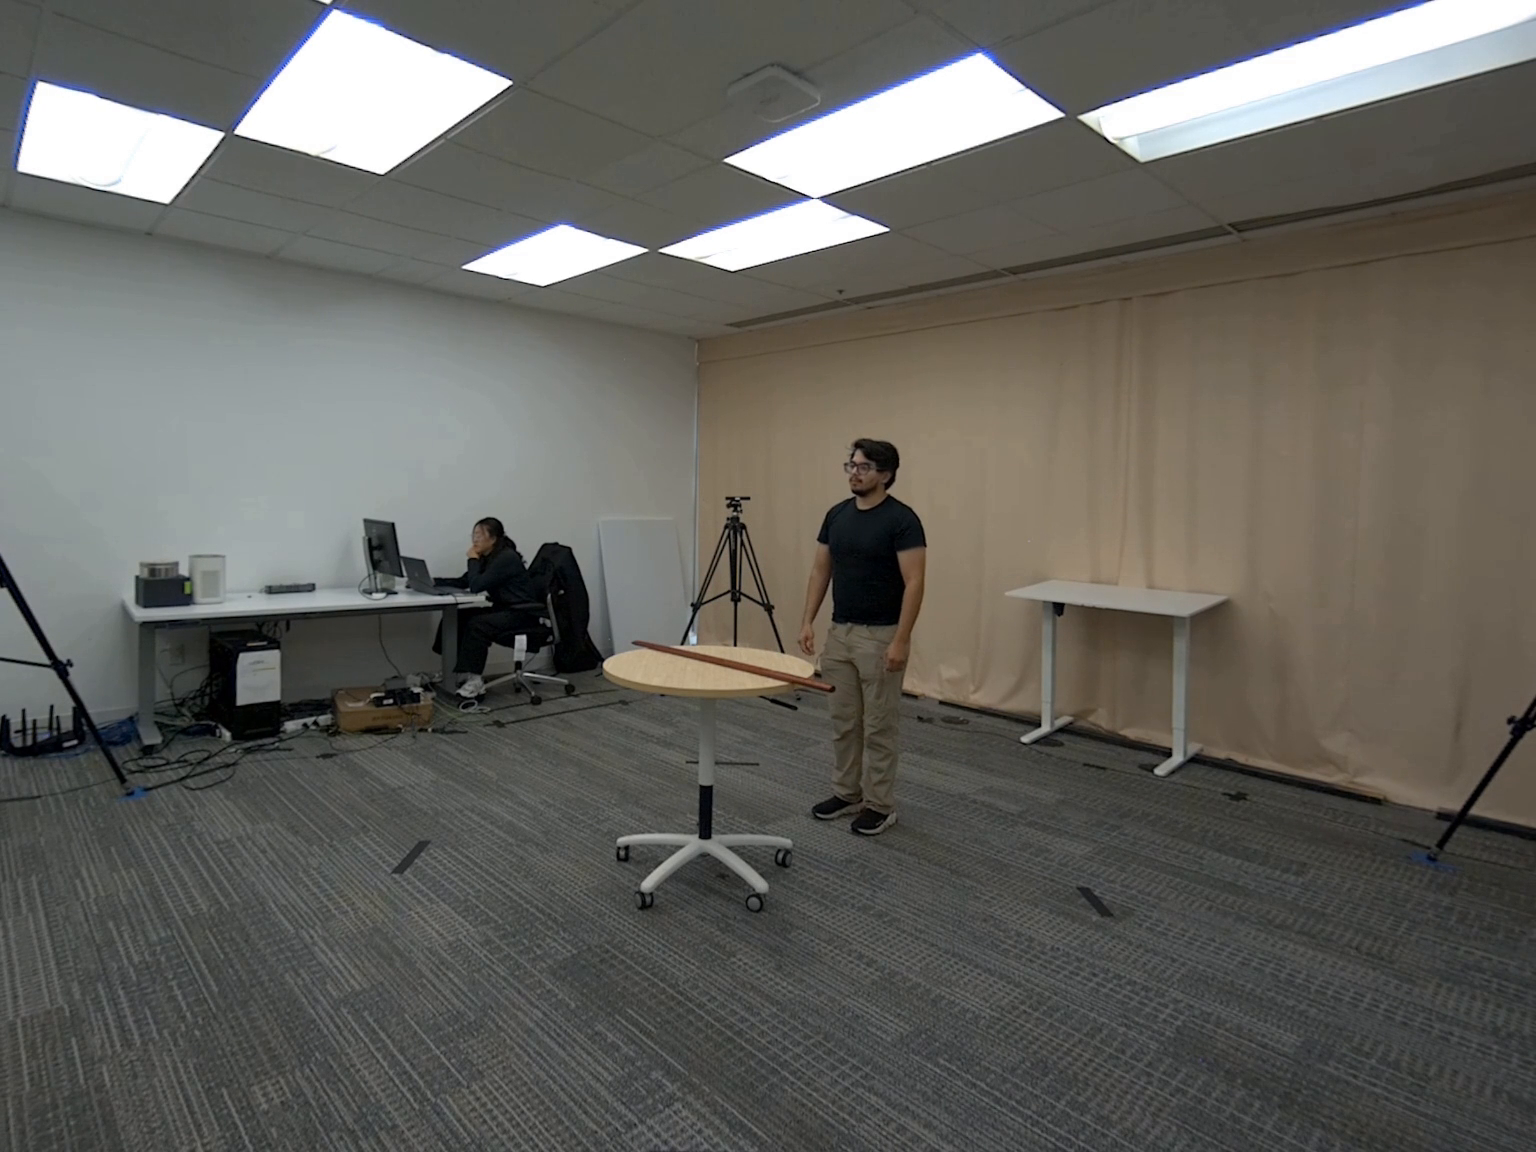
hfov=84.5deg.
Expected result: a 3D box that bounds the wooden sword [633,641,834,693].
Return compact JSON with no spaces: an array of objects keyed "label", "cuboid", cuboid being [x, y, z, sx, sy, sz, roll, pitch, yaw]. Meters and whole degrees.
[{"label":"wooden sword","cuboid":[-0.177,0.331,3.038,1.052,0.050,0.024,8,45,44]}]
